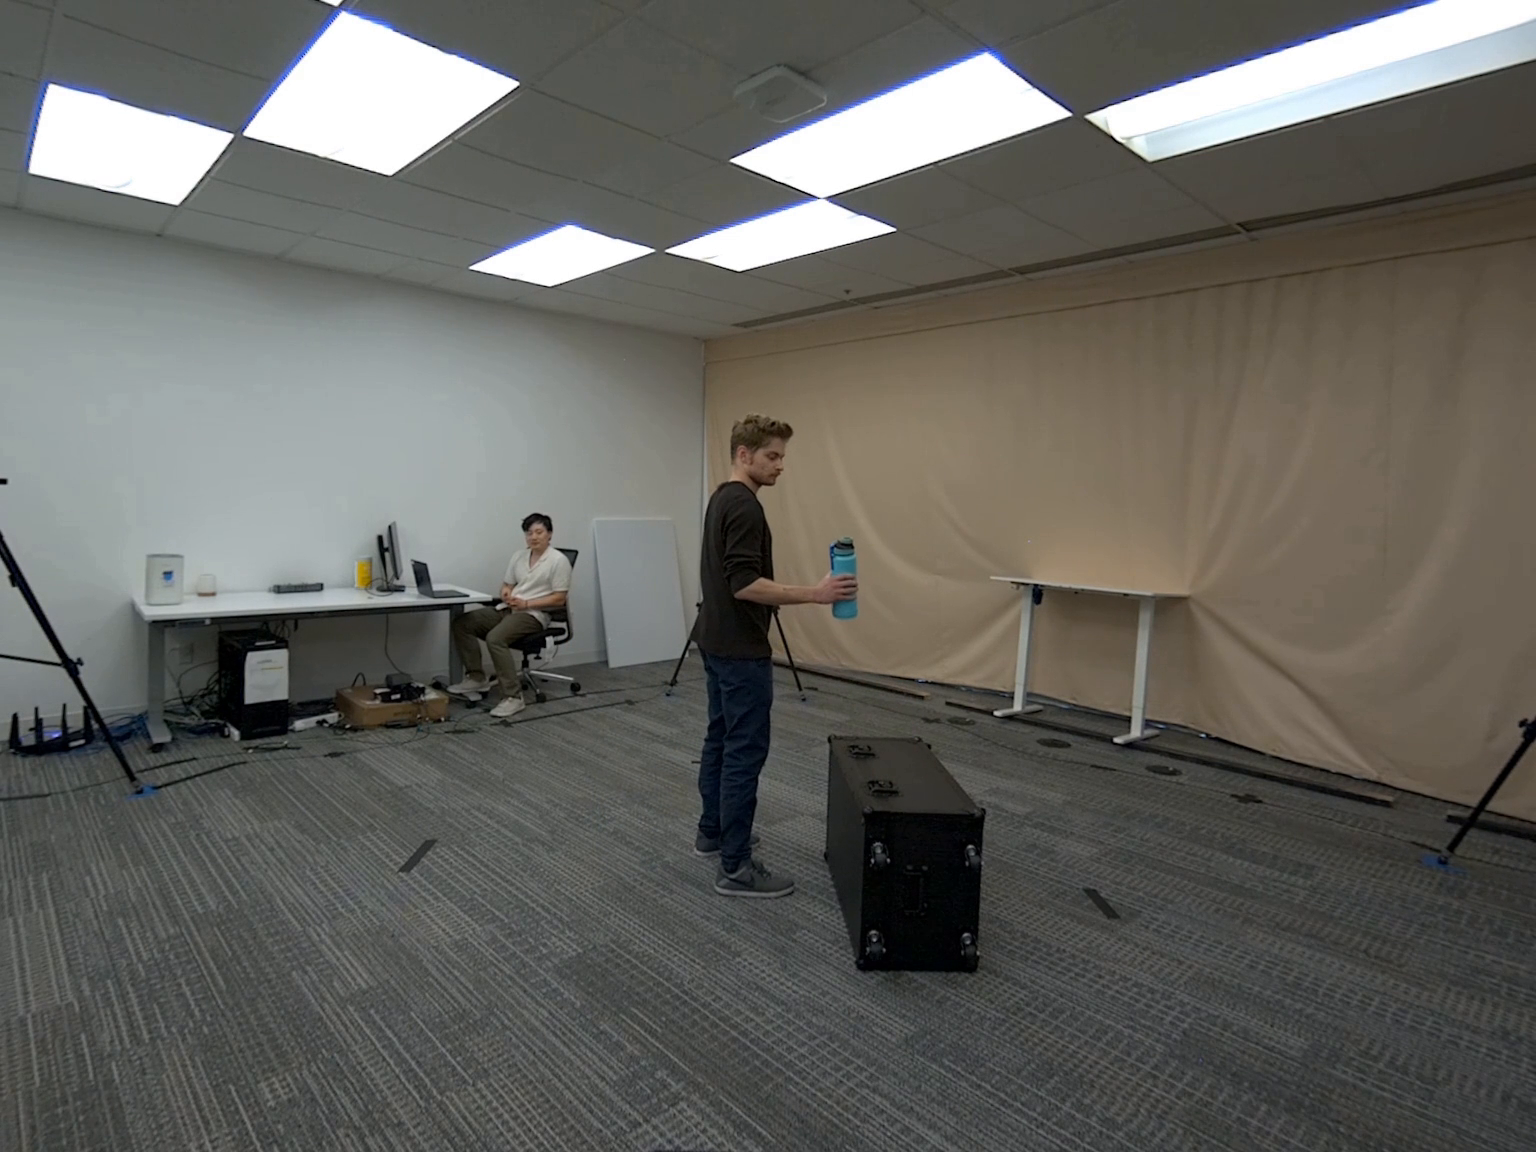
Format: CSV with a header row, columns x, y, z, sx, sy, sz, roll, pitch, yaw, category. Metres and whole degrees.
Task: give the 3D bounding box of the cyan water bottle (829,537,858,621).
x,y,z,sx,sy,sz,roll,pitch,yaw,category
0.257,0.004,2.955,0.092,0.280,0.093,-3,13,-1,cyan water bottle
